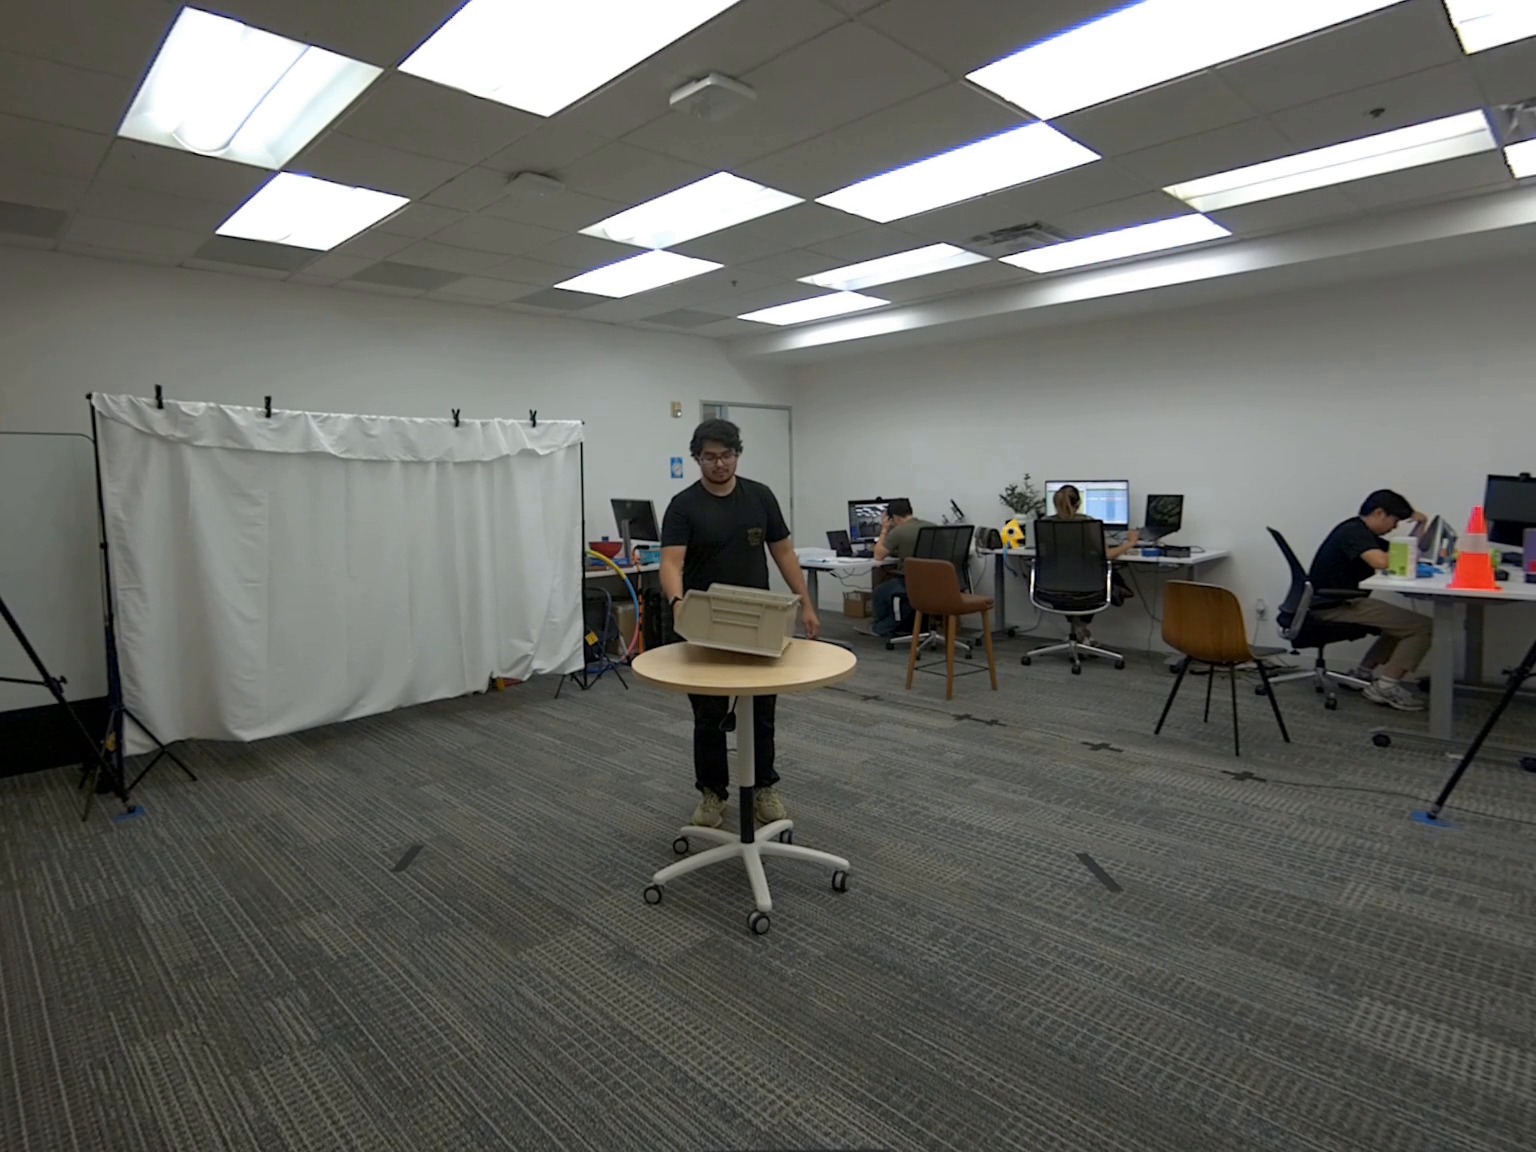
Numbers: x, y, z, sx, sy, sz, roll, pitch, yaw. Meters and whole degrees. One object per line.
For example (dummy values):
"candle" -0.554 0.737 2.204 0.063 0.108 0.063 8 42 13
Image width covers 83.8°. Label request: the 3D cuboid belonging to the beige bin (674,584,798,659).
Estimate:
"beige bin" -0.096 0.148 3.018 0.381 0.189 0.419 8 3 7
